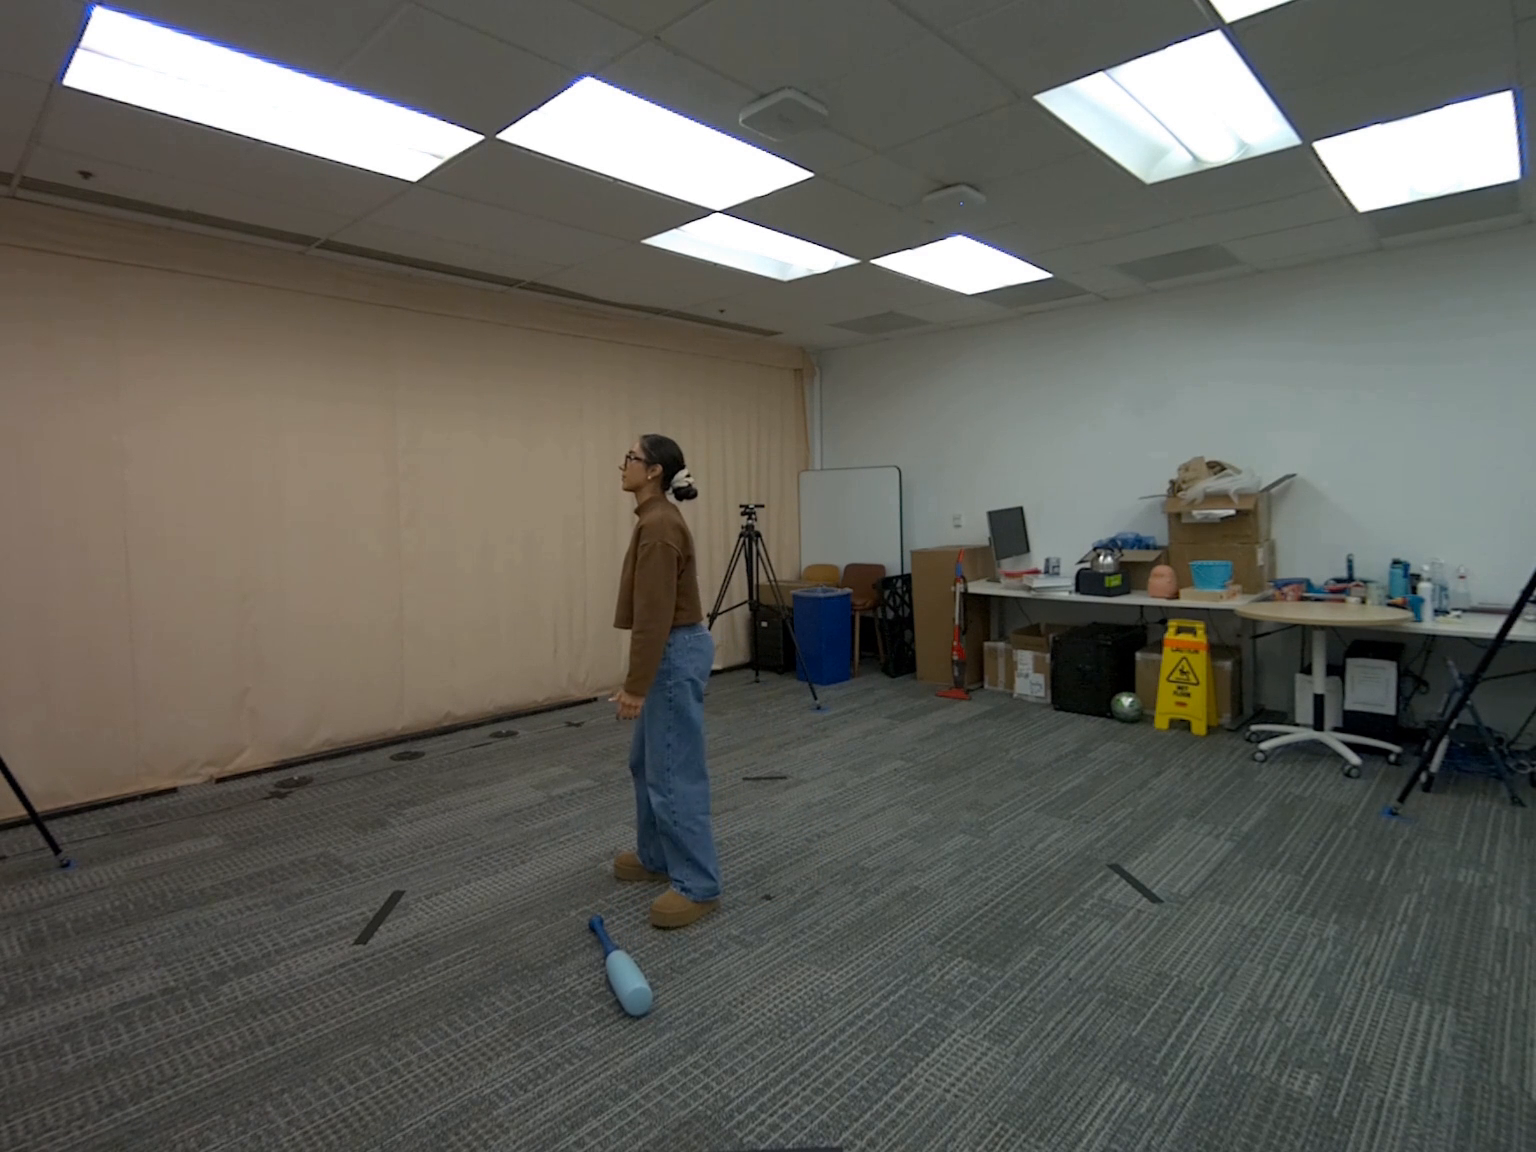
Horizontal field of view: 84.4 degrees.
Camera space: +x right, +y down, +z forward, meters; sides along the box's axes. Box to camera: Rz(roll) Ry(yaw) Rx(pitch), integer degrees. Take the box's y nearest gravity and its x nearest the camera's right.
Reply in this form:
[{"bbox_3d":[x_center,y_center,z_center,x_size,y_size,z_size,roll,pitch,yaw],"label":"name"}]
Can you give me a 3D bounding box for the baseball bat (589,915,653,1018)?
[{"bbox_3d":[-0.457,1.145,2.531,0.087,0.089,0.555,-2,2,-22],"label":"baseball bat"}]
